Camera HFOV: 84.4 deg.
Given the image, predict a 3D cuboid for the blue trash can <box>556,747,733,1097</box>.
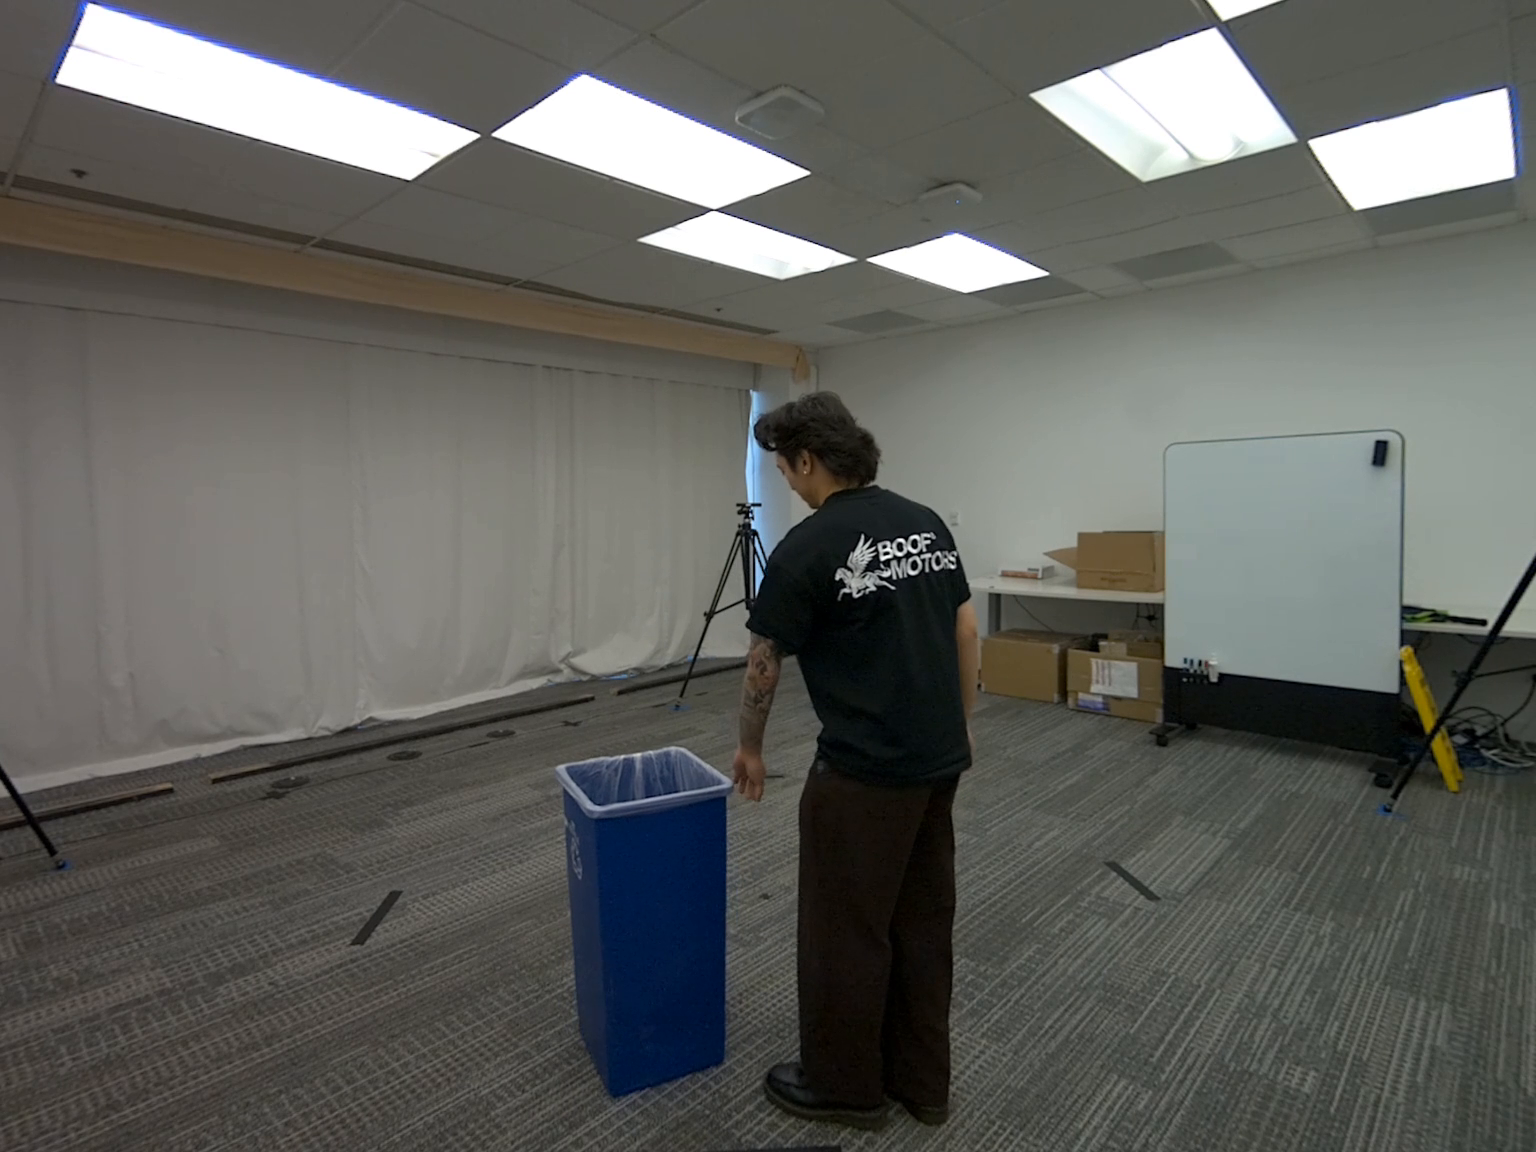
[{"bbox_3d":[-0.301,0.857,2.152,0.368,0.712,0.384,-3,3,-28],"label":"blue trash can"}]
